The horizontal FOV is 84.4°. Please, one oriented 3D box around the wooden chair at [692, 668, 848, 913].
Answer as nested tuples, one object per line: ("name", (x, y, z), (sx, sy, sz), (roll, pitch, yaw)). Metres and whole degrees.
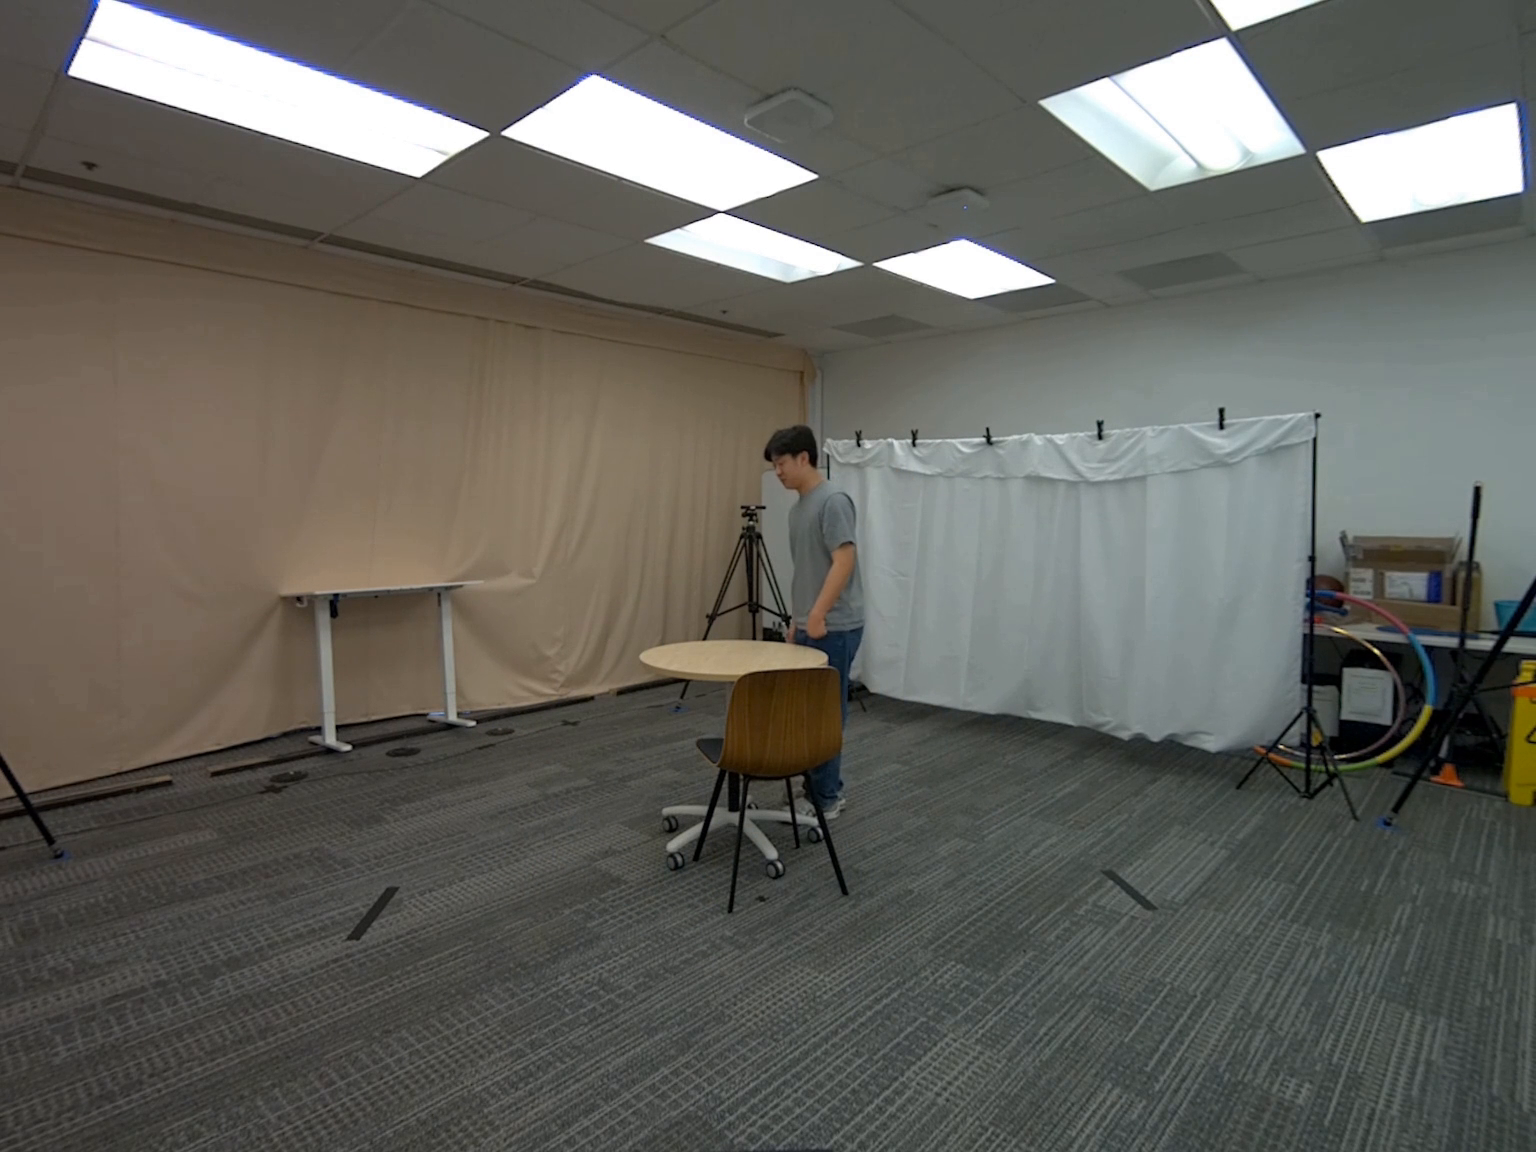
("wooden chair", (-0.008, 0.700, 3.128), (0.469, 0.873, 0.535), (-1, 8, -19))
